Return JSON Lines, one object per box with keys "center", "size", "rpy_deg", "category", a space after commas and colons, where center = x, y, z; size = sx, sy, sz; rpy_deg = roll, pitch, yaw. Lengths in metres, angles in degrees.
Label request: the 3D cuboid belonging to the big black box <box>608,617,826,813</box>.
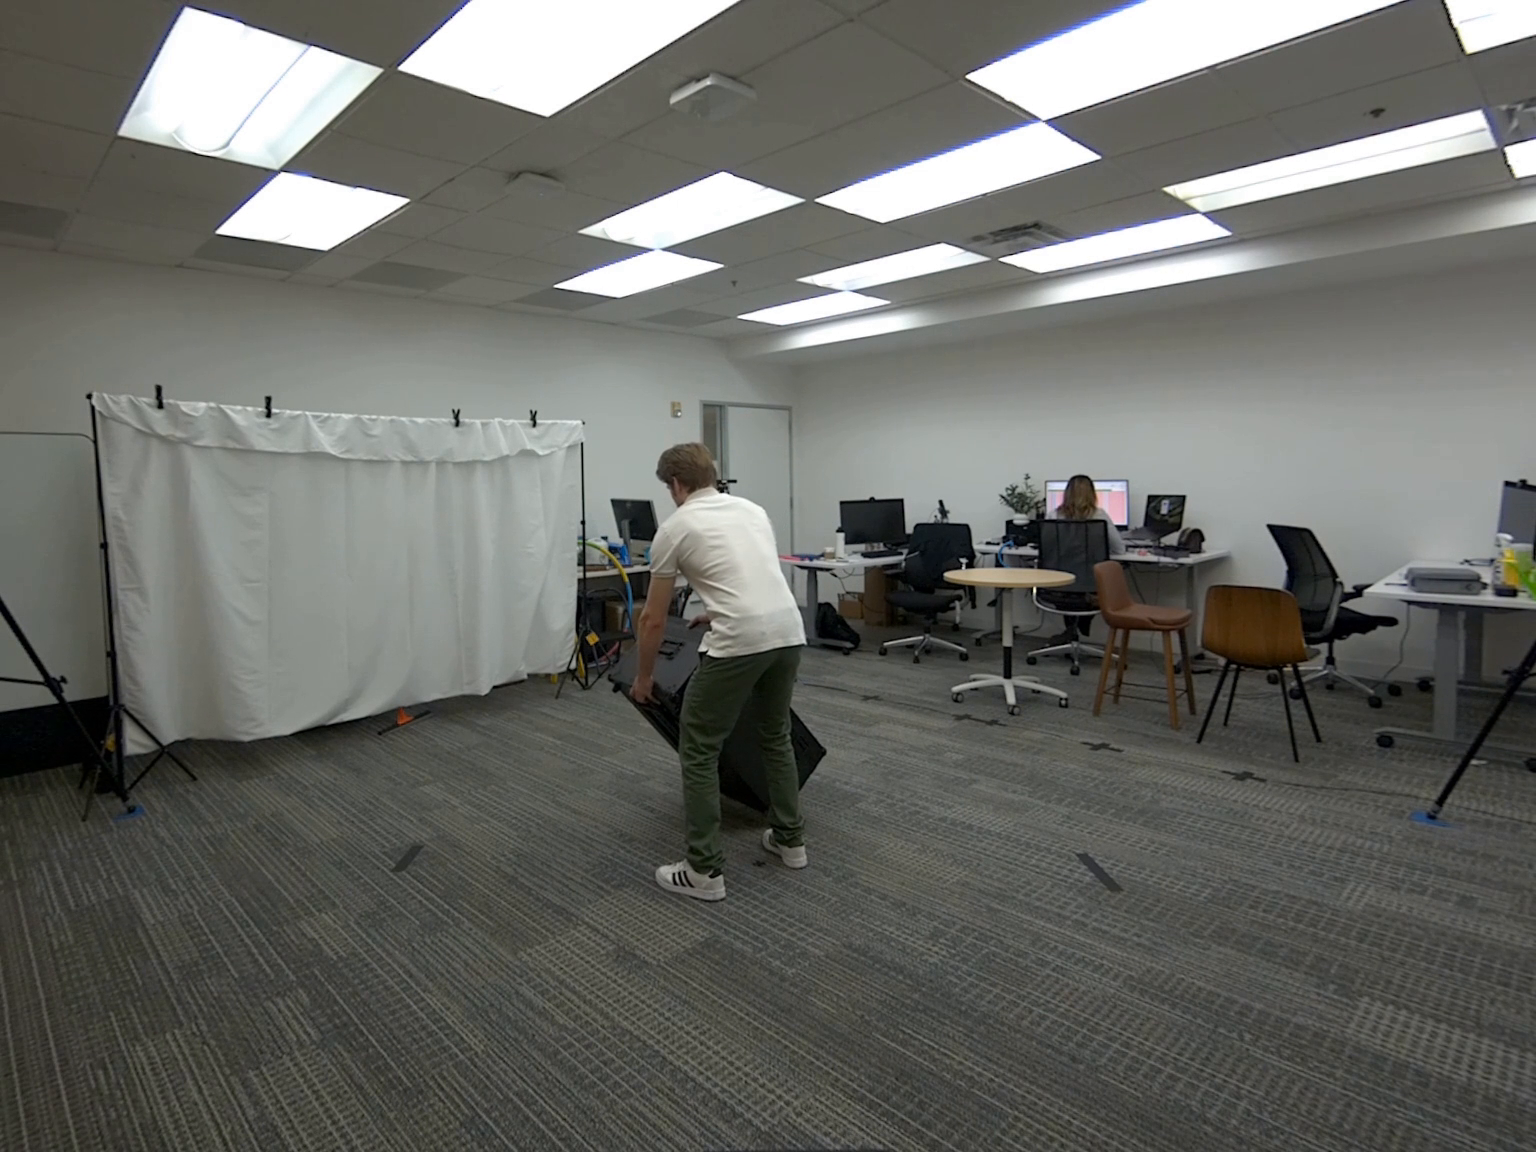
{"center": [-0.186, 0.604, 3.557], "size": [0.539, 0.842, 0.386], "rpy_deg": [3, 47, 51], "category": "big black box"}
